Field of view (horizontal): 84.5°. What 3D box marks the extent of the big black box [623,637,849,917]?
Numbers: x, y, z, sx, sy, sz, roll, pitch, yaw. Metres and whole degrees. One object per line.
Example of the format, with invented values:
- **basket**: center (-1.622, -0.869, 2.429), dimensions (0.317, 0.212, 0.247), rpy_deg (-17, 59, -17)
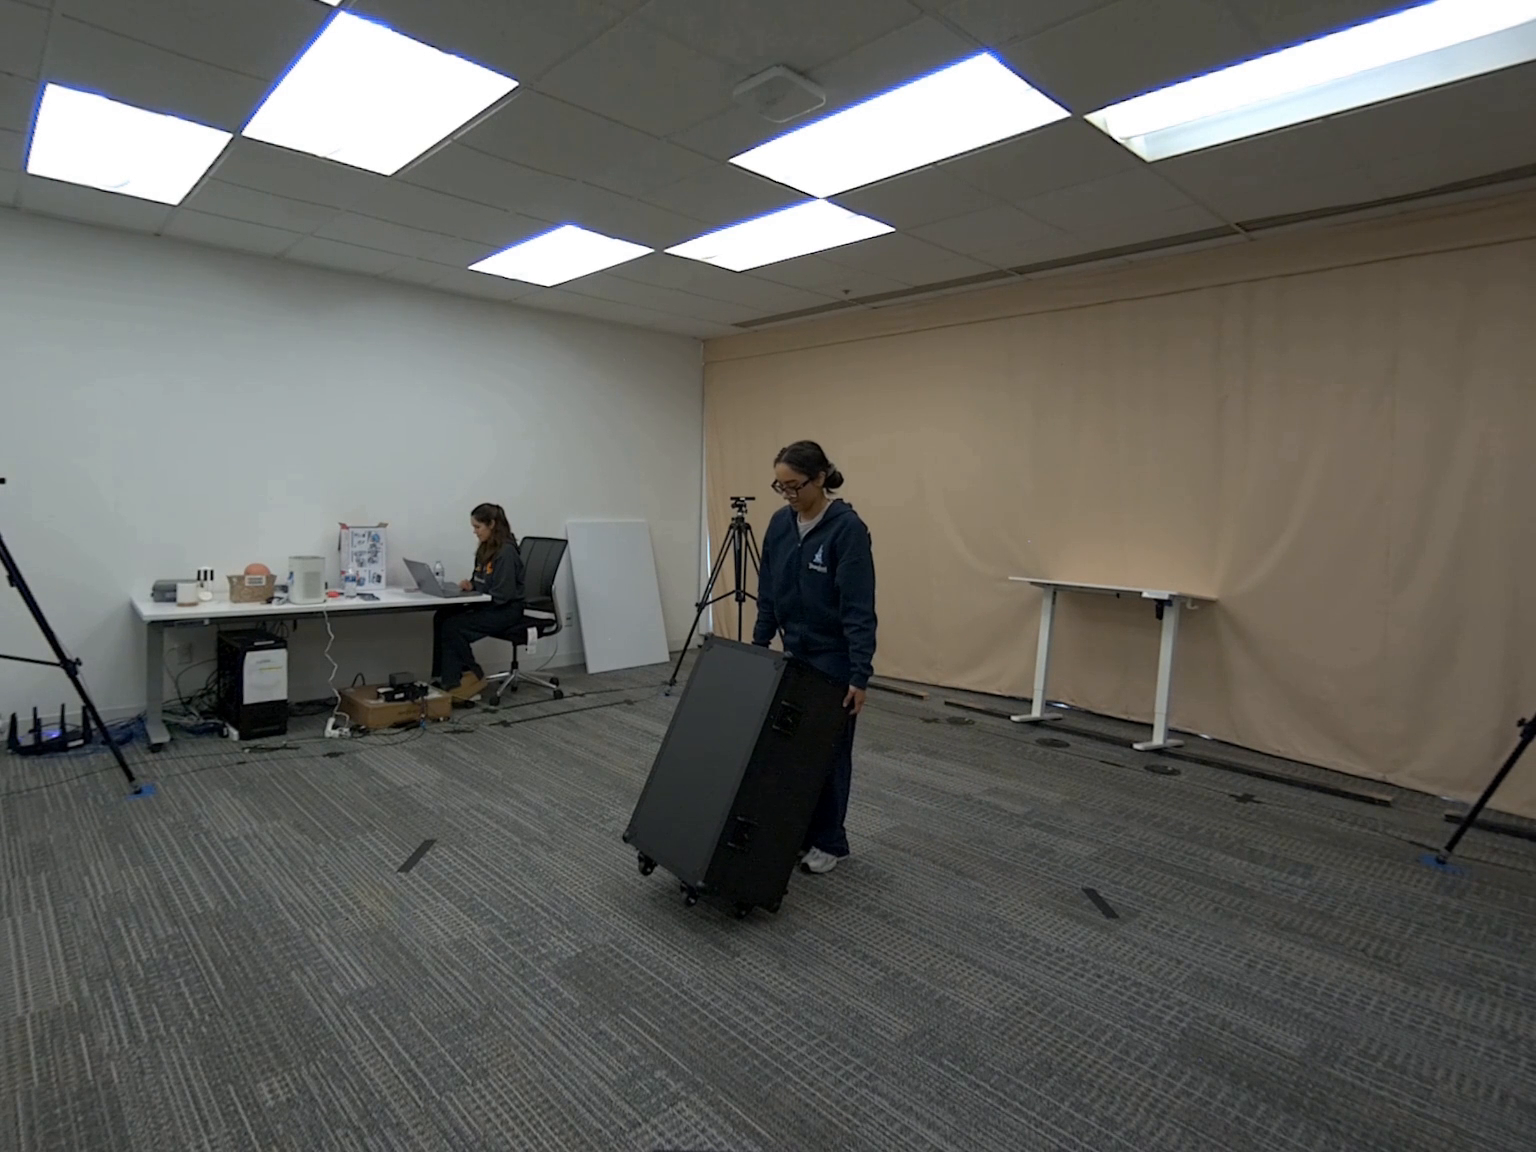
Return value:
- **big black box**: center (-0.112, 0.697, 2.935), dimensions (0.384, 0.866, 0.534), rpy_deg (32, -16, -36)
